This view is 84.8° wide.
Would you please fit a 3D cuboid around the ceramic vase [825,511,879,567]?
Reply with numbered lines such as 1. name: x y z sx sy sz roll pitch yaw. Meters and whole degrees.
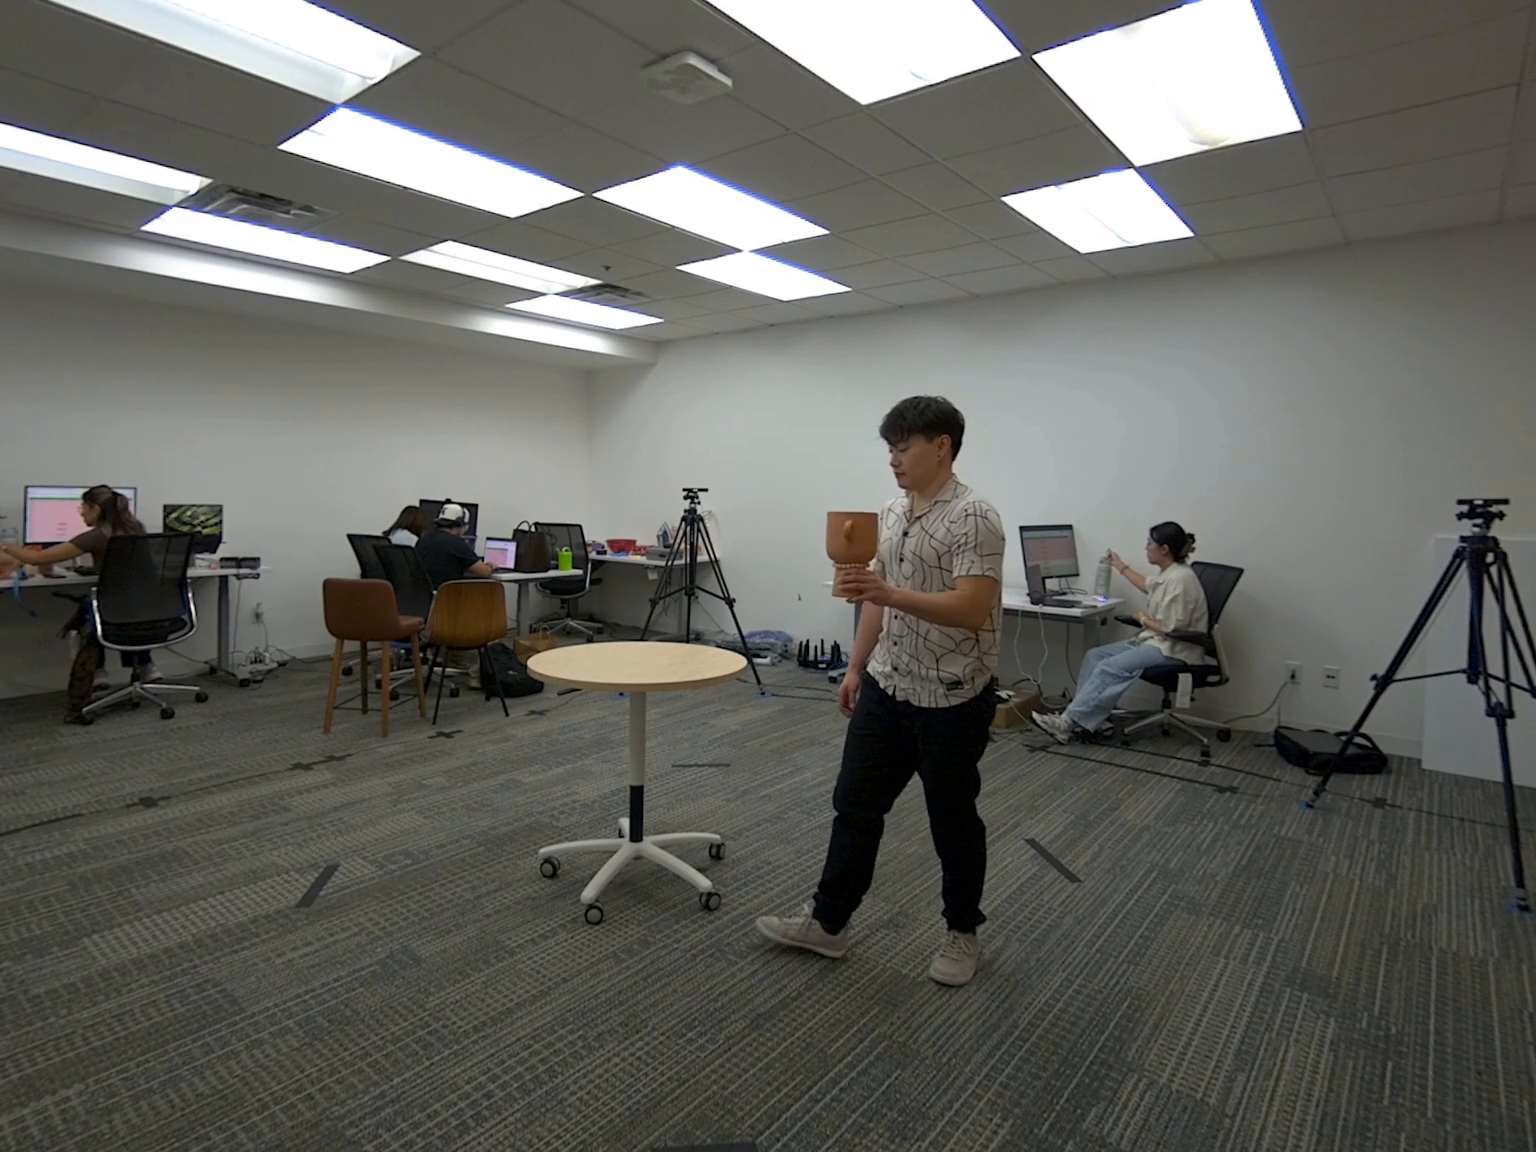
1. ceramic vase: 0.216 -0.060 2.219 0.154 0.220 0.139 -3 1 -40
